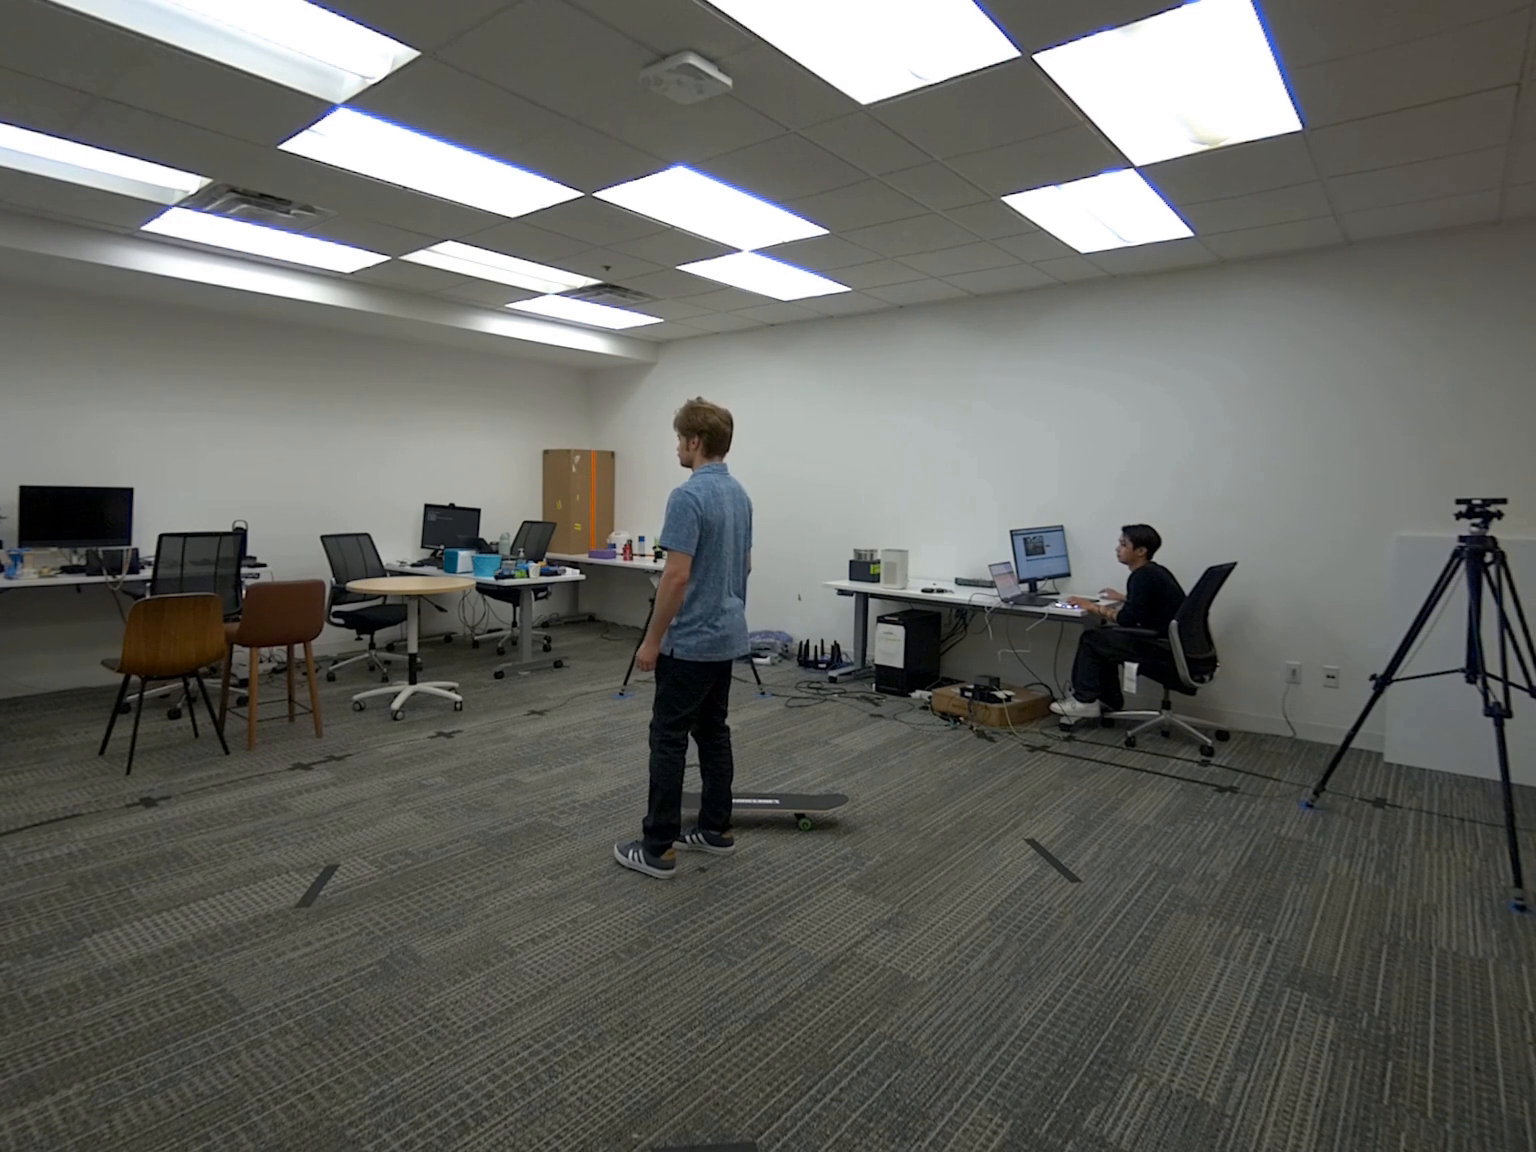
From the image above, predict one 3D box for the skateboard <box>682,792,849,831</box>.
[{"bbox_3d":[-0.064,0.969,3.563,0.785,0.110,0.194,1,5,0],"label":"skateboard"}]
